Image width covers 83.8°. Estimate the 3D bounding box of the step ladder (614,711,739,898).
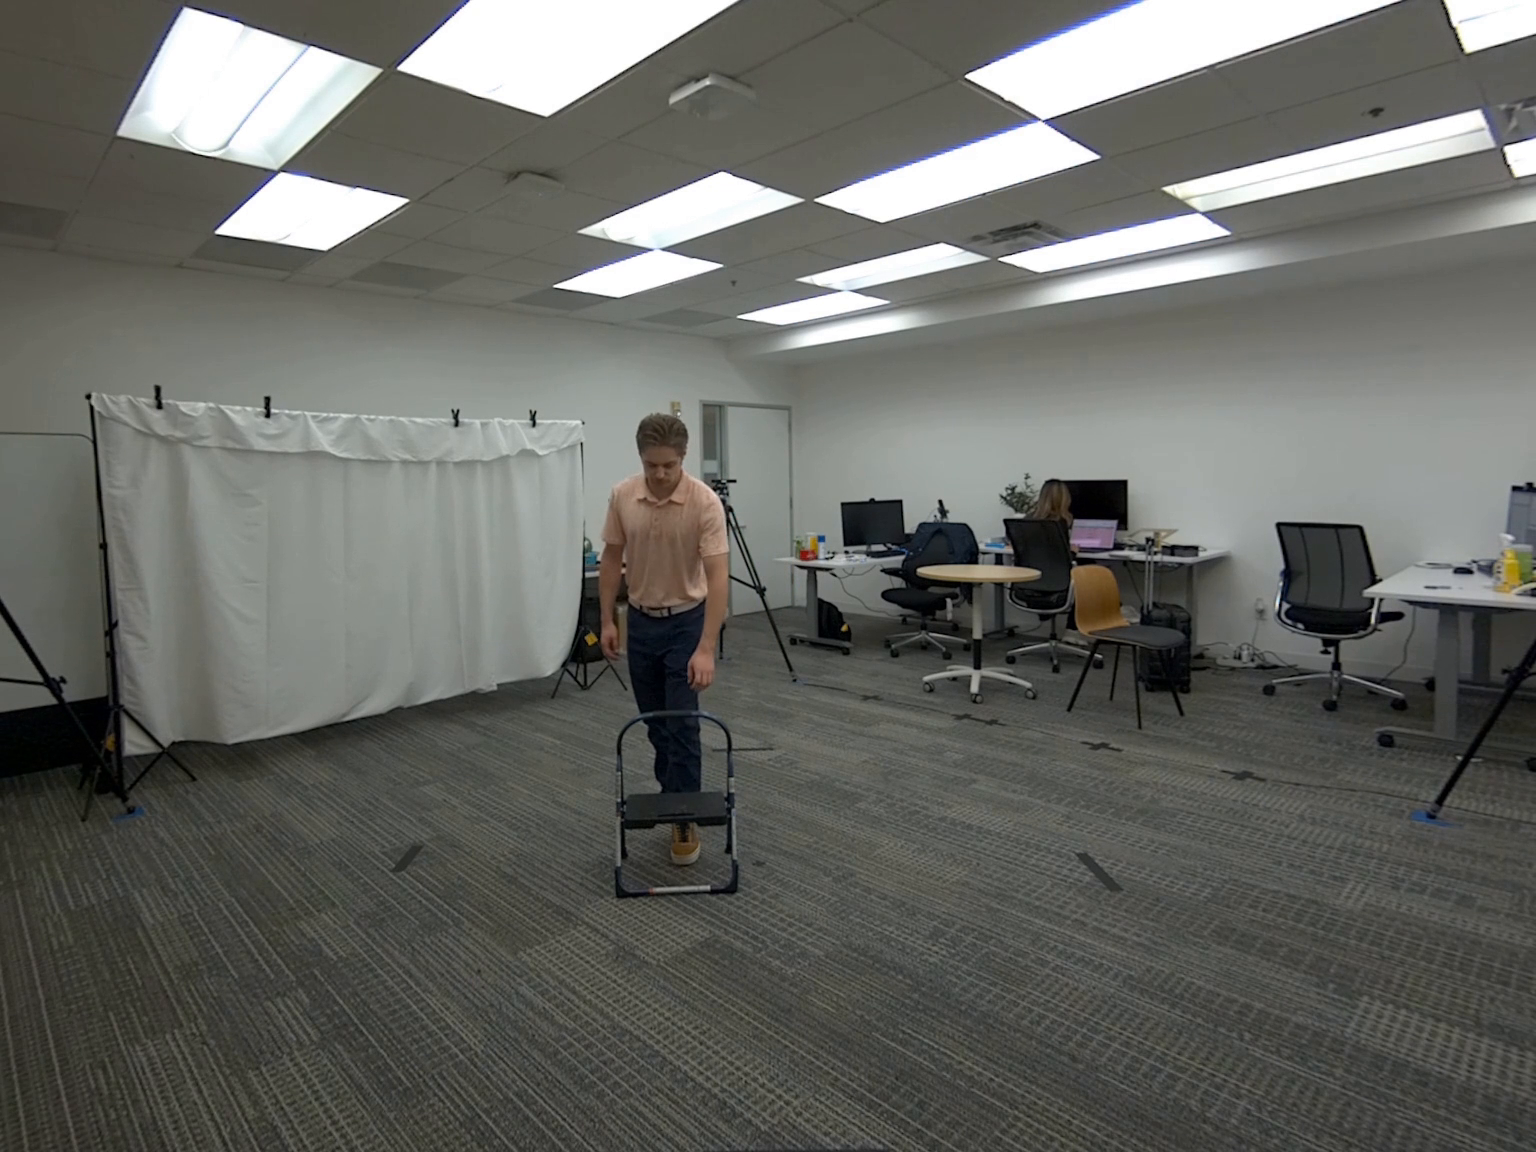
[{"bbox_3d":[-0.330,0.762,3.030,0.428,0.604,0.352,-2,4,-5],"label":"step ladder"}]
